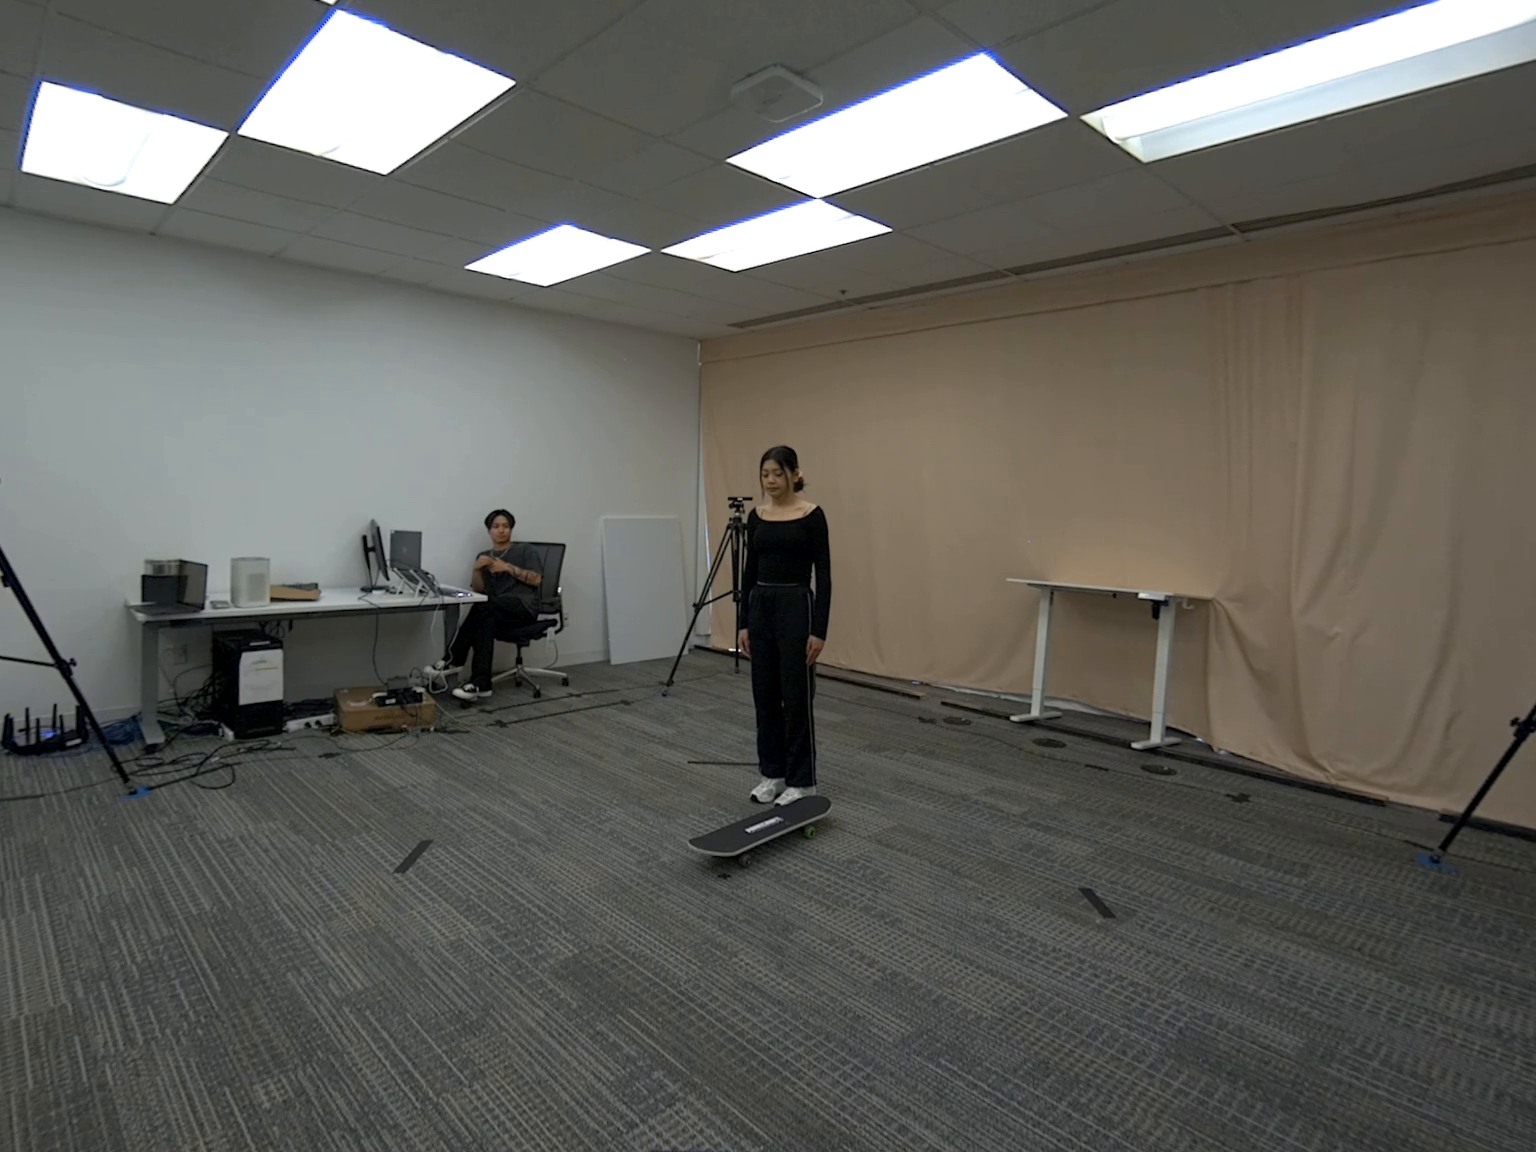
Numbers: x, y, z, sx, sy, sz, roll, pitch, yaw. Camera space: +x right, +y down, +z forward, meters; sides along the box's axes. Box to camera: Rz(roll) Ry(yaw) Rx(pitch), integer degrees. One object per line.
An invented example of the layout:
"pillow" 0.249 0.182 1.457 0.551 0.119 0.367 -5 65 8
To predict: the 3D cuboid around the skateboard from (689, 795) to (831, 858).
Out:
"skateboard" -0.020 1.031 3.379 0.198 0.110 0.767 6 6 41
